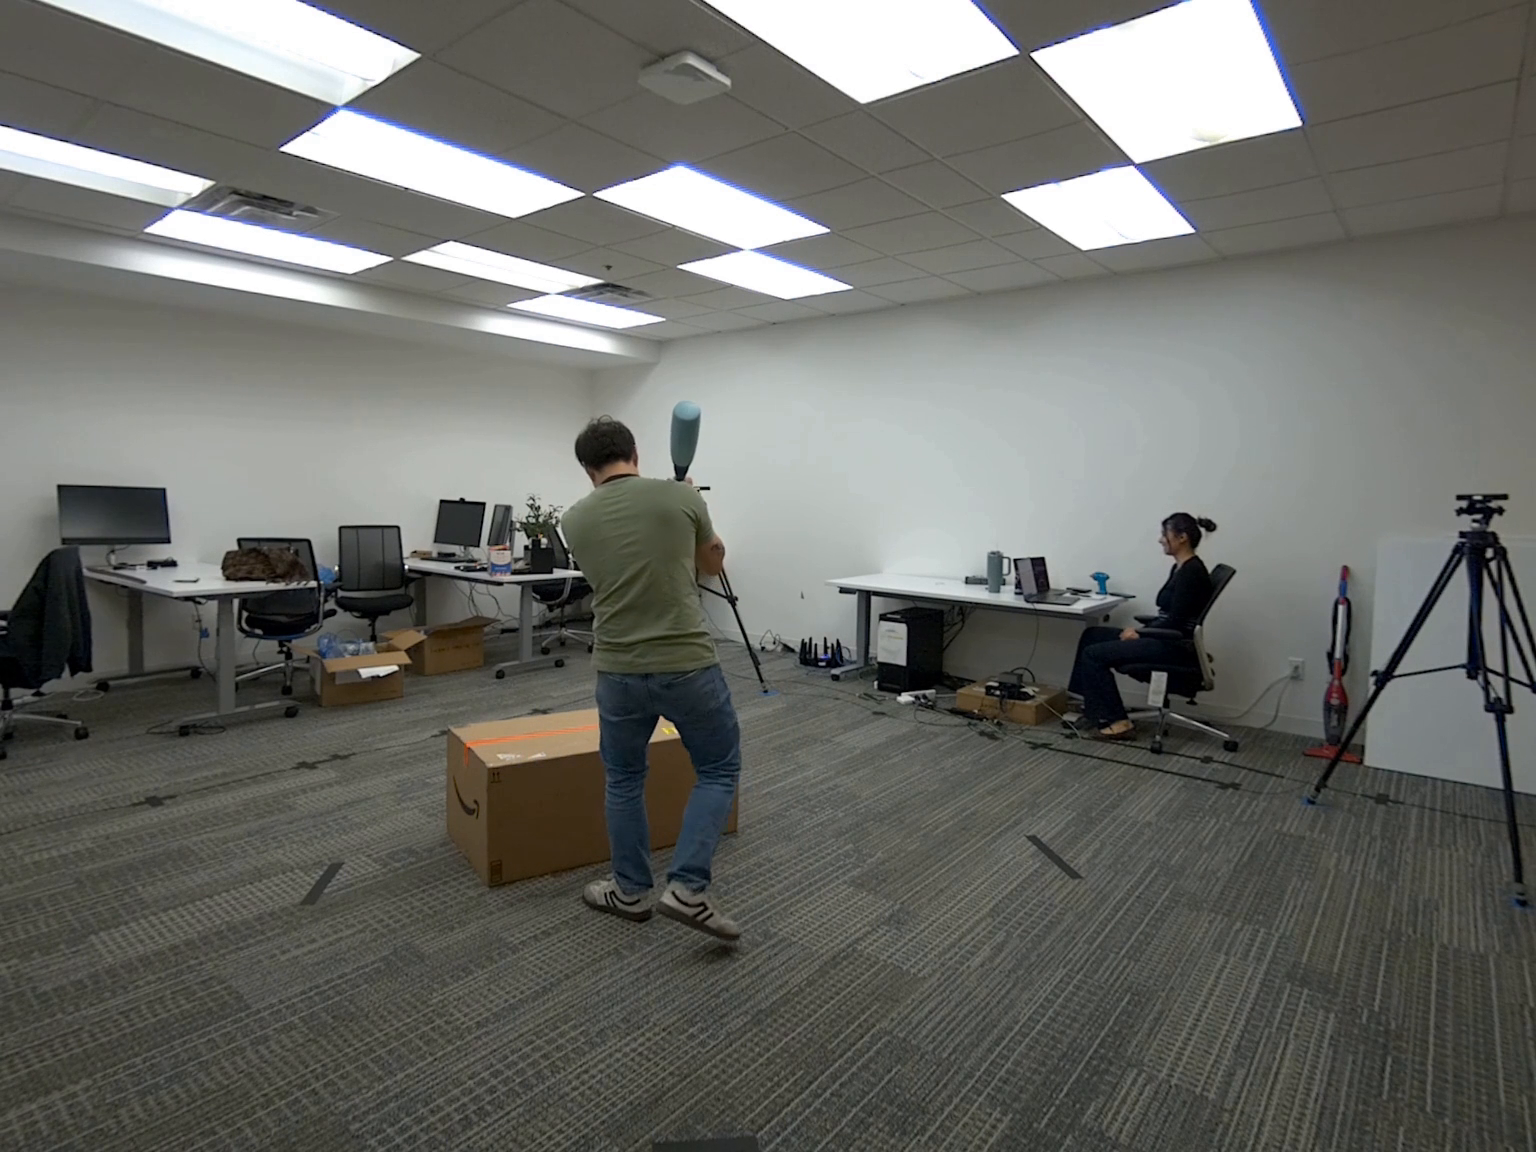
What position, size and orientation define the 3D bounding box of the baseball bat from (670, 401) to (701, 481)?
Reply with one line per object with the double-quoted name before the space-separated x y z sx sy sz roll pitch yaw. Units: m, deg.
"baseball bat" -0.298 -0.363 2.767 0.088 0.091 0.534 1 -30 -12
